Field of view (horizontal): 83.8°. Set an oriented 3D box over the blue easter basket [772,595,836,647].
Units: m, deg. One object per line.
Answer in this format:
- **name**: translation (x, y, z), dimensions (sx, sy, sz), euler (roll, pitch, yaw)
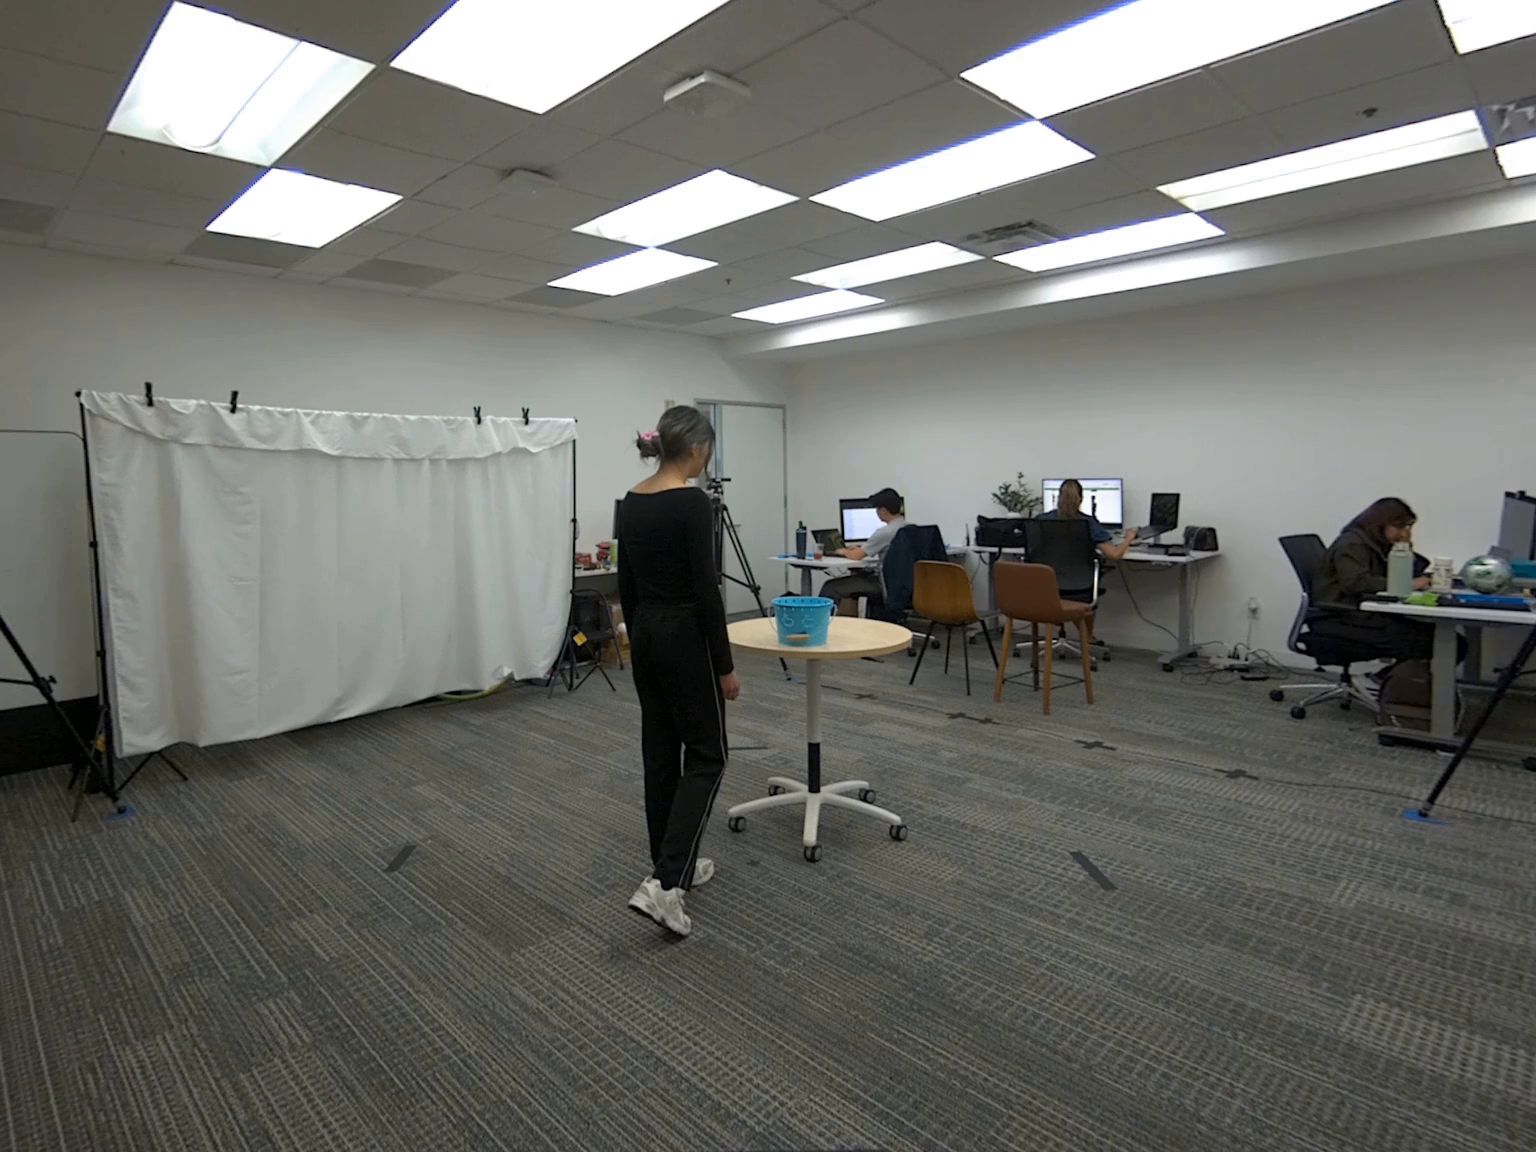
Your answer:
- **blue easter basket**: translation (0.131, 0.169, 3.179), dimensions (0.243, 0.155, 0.245), euler (0, 5, -2)
